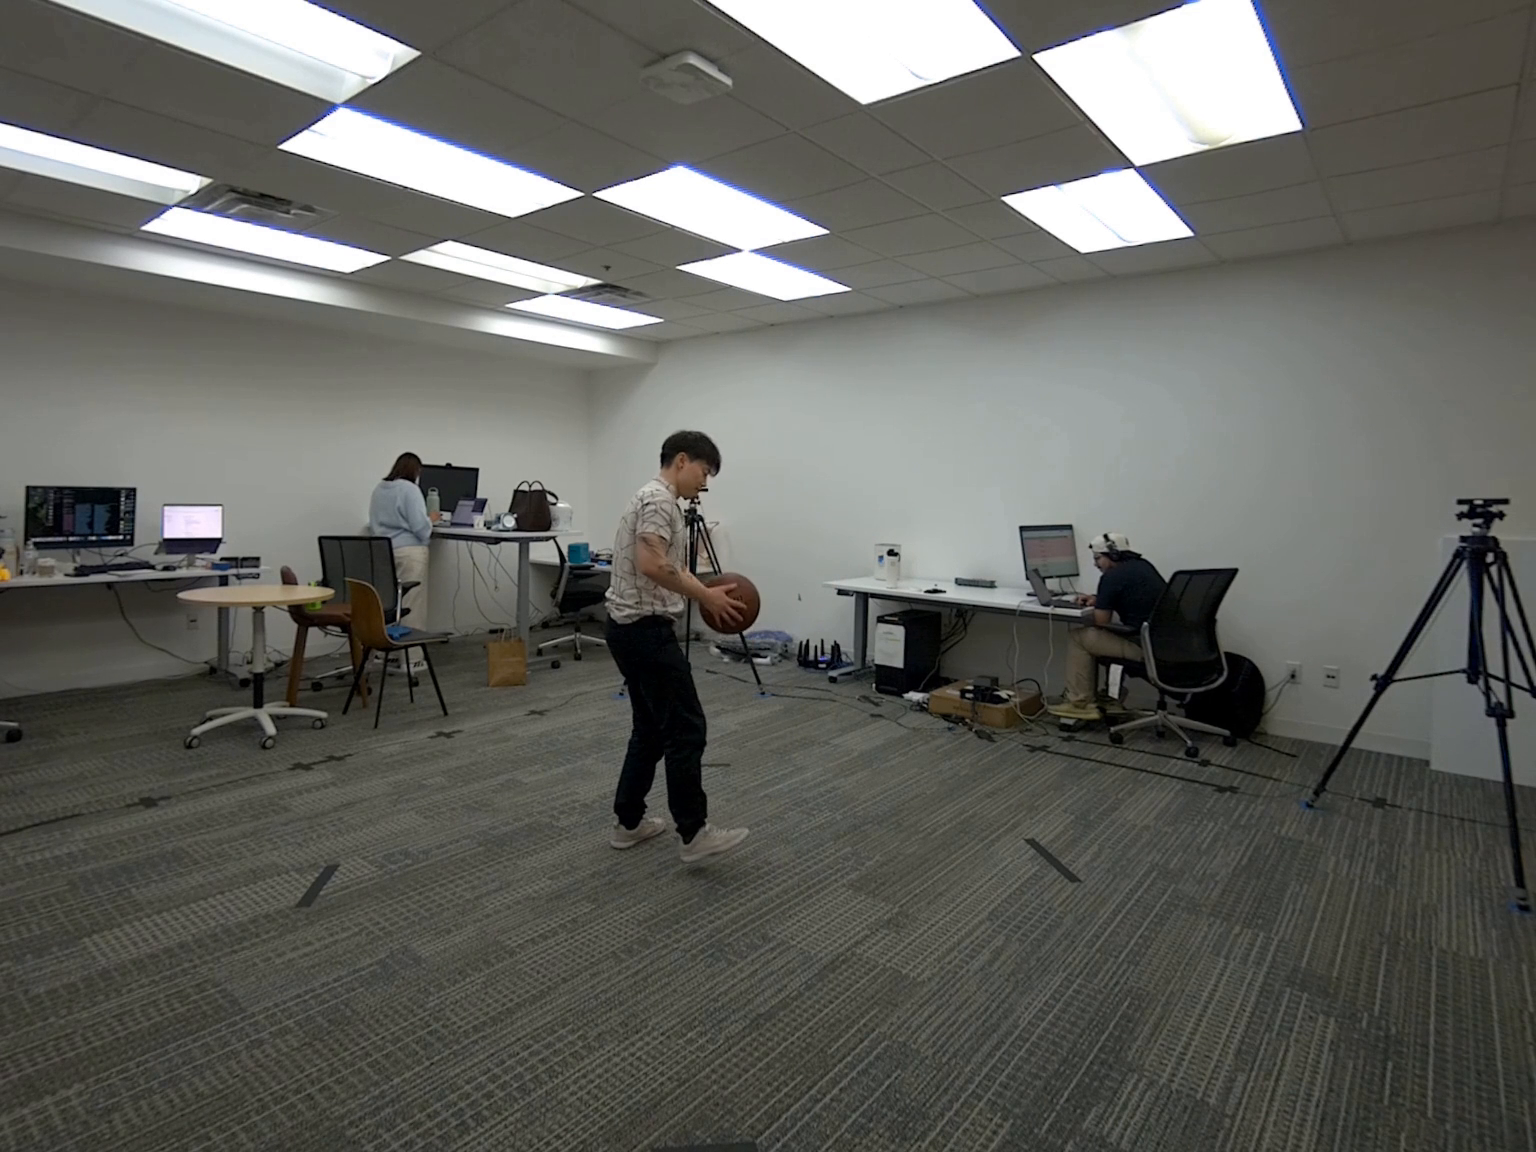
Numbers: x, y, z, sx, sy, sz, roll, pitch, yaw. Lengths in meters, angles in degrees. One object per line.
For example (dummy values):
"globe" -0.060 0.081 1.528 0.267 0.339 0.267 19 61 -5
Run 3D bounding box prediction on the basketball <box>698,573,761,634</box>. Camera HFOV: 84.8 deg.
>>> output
"basketball" -0.164 0.099 3.271 0.235 0.235 0.237 1 4 -2
